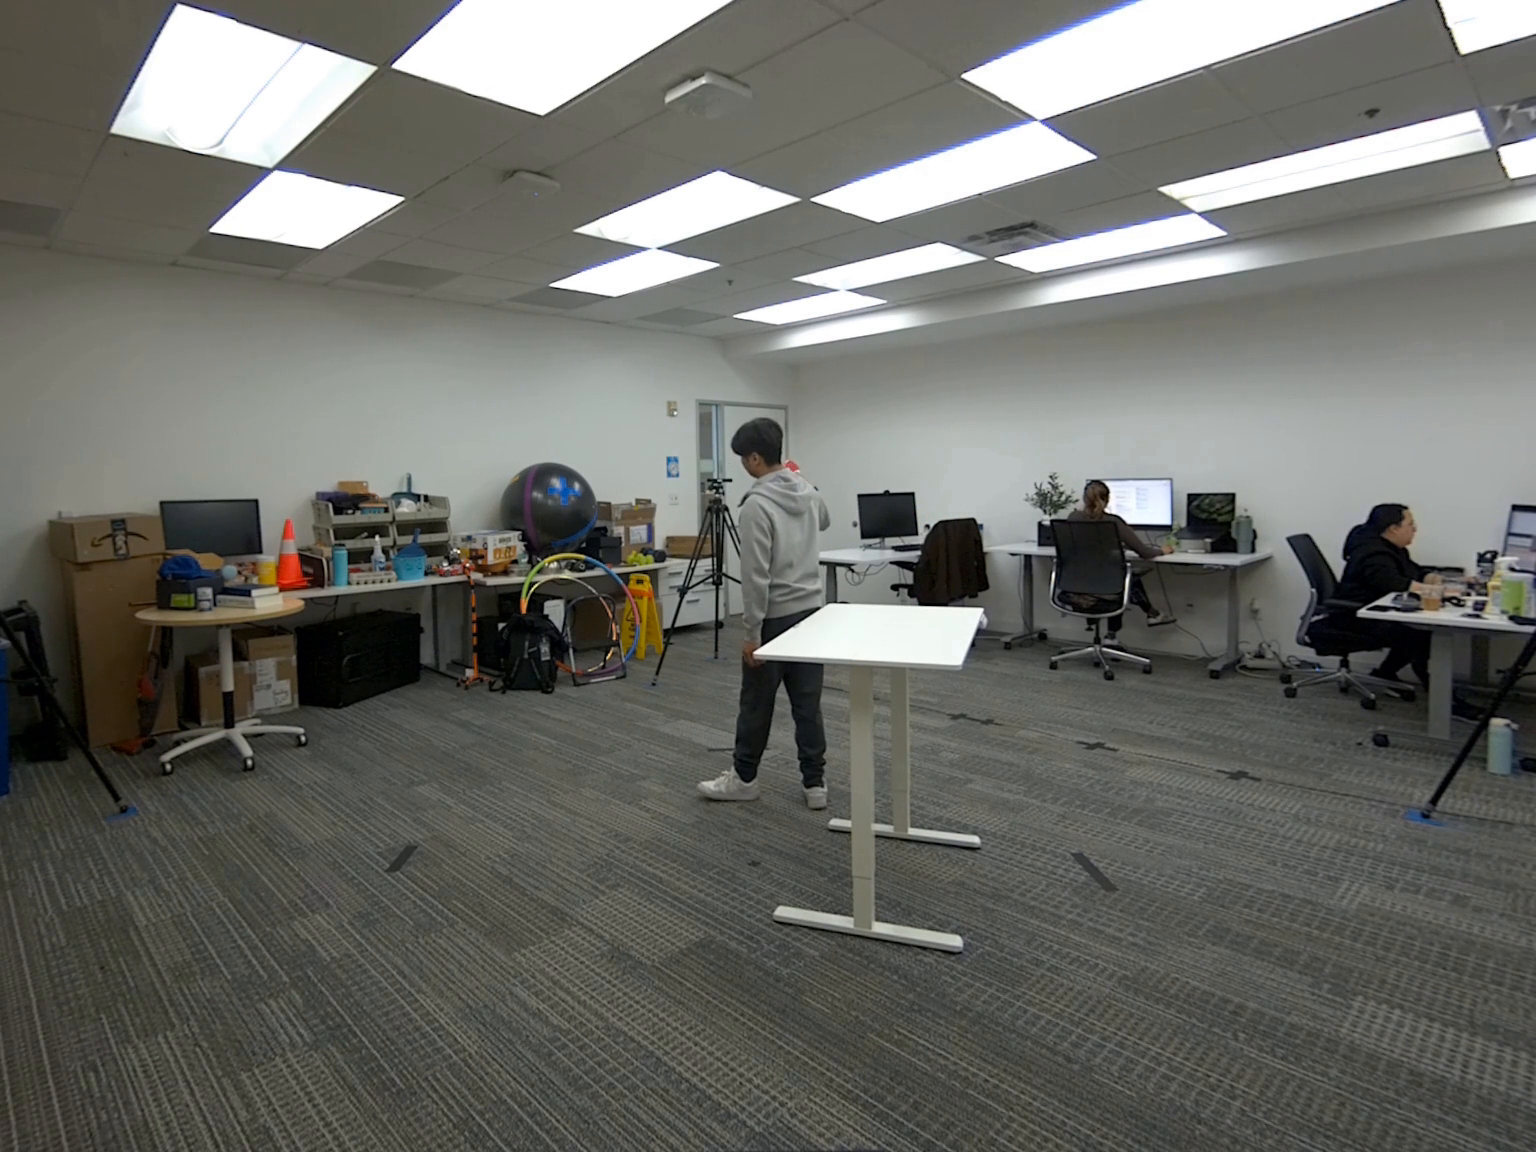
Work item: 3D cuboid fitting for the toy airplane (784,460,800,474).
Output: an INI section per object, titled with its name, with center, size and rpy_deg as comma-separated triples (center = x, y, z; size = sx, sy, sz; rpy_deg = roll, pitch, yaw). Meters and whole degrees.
[toy airplane]
center = 0.123, -0.469, 4.279
size = 0.253, 0.155, 0.260
rpy_deg = 14, 31, -25
